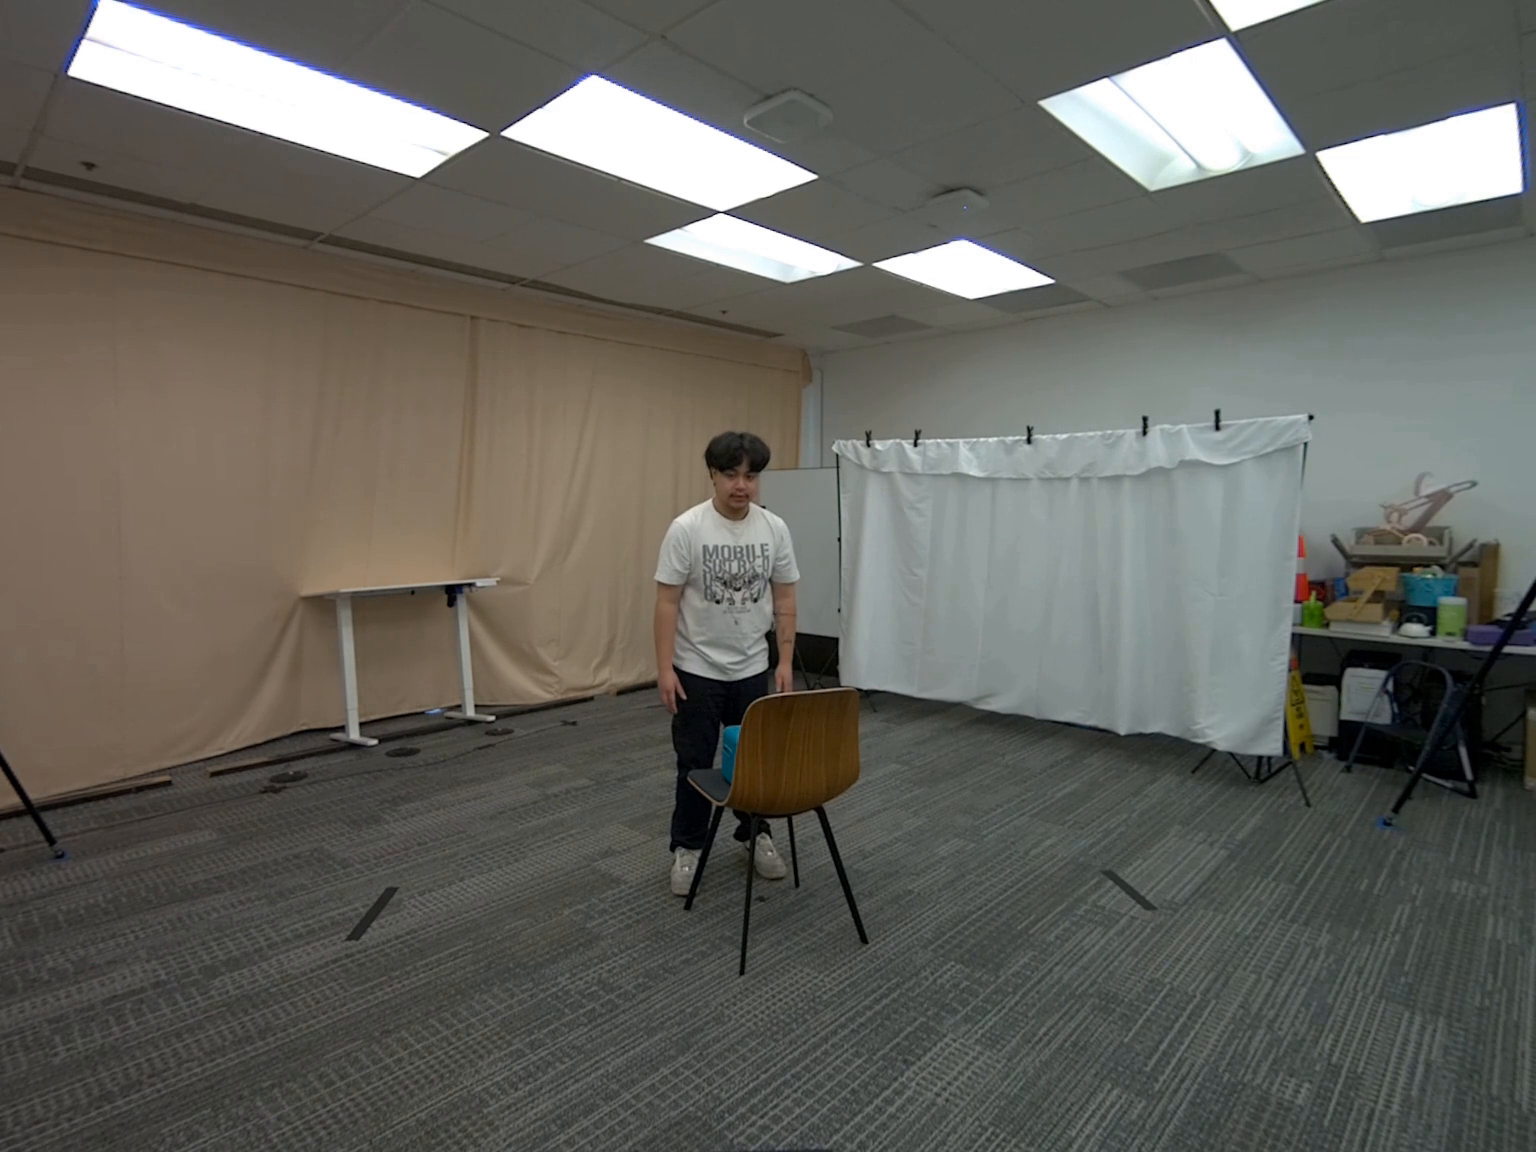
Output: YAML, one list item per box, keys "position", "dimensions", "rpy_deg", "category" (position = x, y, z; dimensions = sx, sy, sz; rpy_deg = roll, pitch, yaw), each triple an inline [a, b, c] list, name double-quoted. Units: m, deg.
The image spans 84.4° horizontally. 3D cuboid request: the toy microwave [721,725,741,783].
- position: [-0.002, 0.585, 2.784]
  dimensions: [0.280, 0.183, 0.156]
  rpy_deg: [-2, 8, -22]
  category: "toy microwave"
